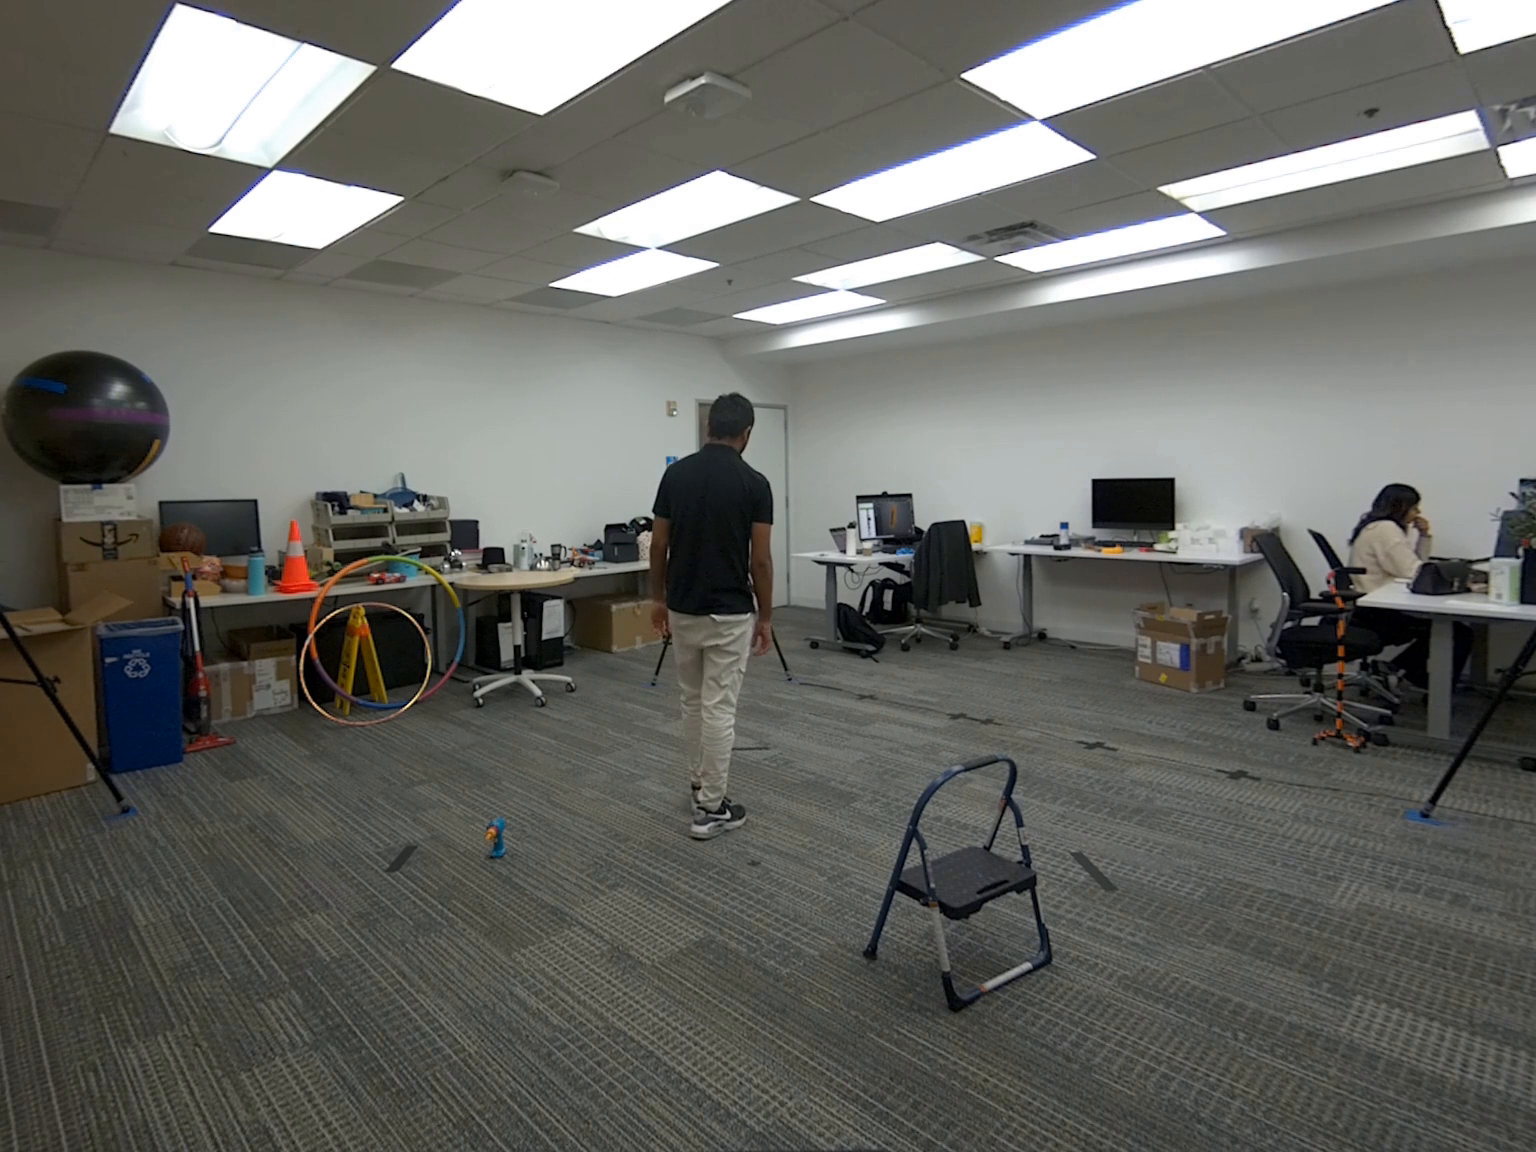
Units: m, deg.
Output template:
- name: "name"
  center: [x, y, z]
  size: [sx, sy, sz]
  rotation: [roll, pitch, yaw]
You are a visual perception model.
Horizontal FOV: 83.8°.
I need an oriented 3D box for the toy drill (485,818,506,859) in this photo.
- name: "toy drill"
  center: [-1.030, 0.987, 3.184]
  size: [0.061, 0.145, 0.170]
  rotation: [-4, 6, 4]
